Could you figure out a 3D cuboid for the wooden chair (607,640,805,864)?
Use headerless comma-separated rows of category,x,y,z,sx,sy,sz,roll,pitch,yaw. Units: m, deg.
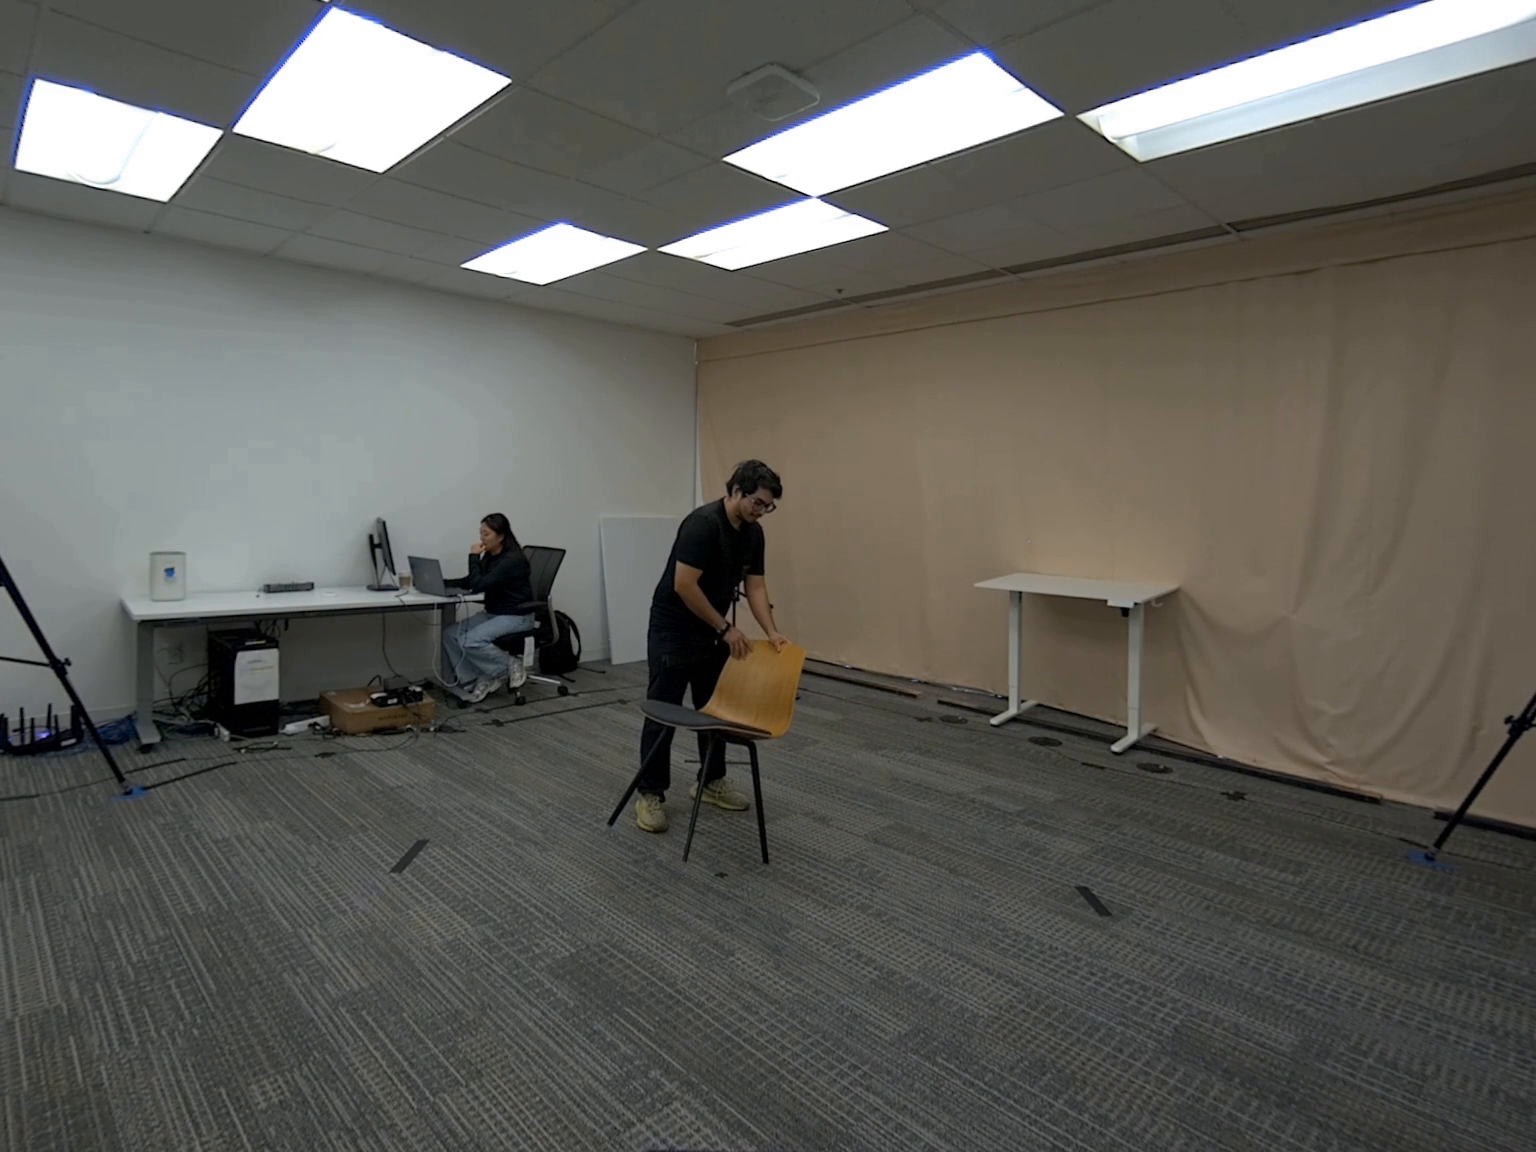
wooden chair,-0.217,0.616,3.252,0.490,0.883,0.507,4,-17,44
